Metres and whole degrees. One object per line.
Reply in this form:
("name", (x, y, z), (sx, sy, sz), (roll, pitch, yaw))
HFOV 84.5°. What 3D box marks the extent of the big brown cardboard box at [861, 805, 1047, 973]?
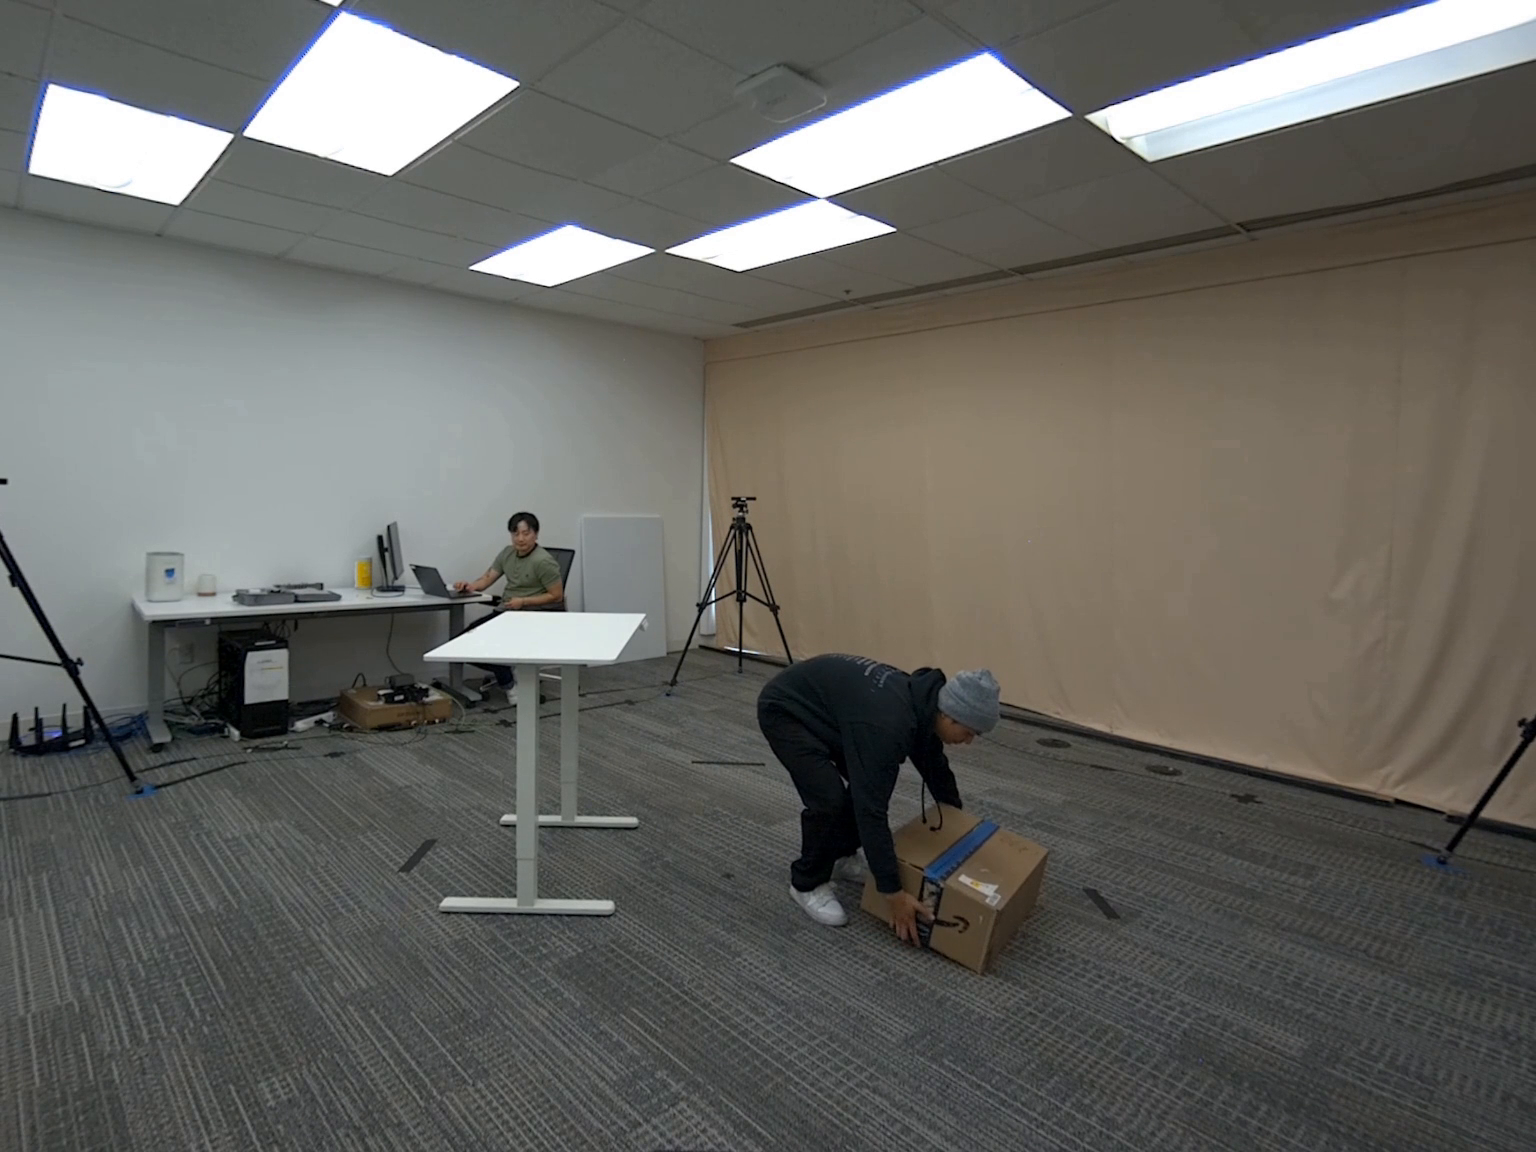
("big brown cardboard box", (0.636, 1.018, 2.808), (0.429, 0.232, 0.576), (18, 11, 32))
